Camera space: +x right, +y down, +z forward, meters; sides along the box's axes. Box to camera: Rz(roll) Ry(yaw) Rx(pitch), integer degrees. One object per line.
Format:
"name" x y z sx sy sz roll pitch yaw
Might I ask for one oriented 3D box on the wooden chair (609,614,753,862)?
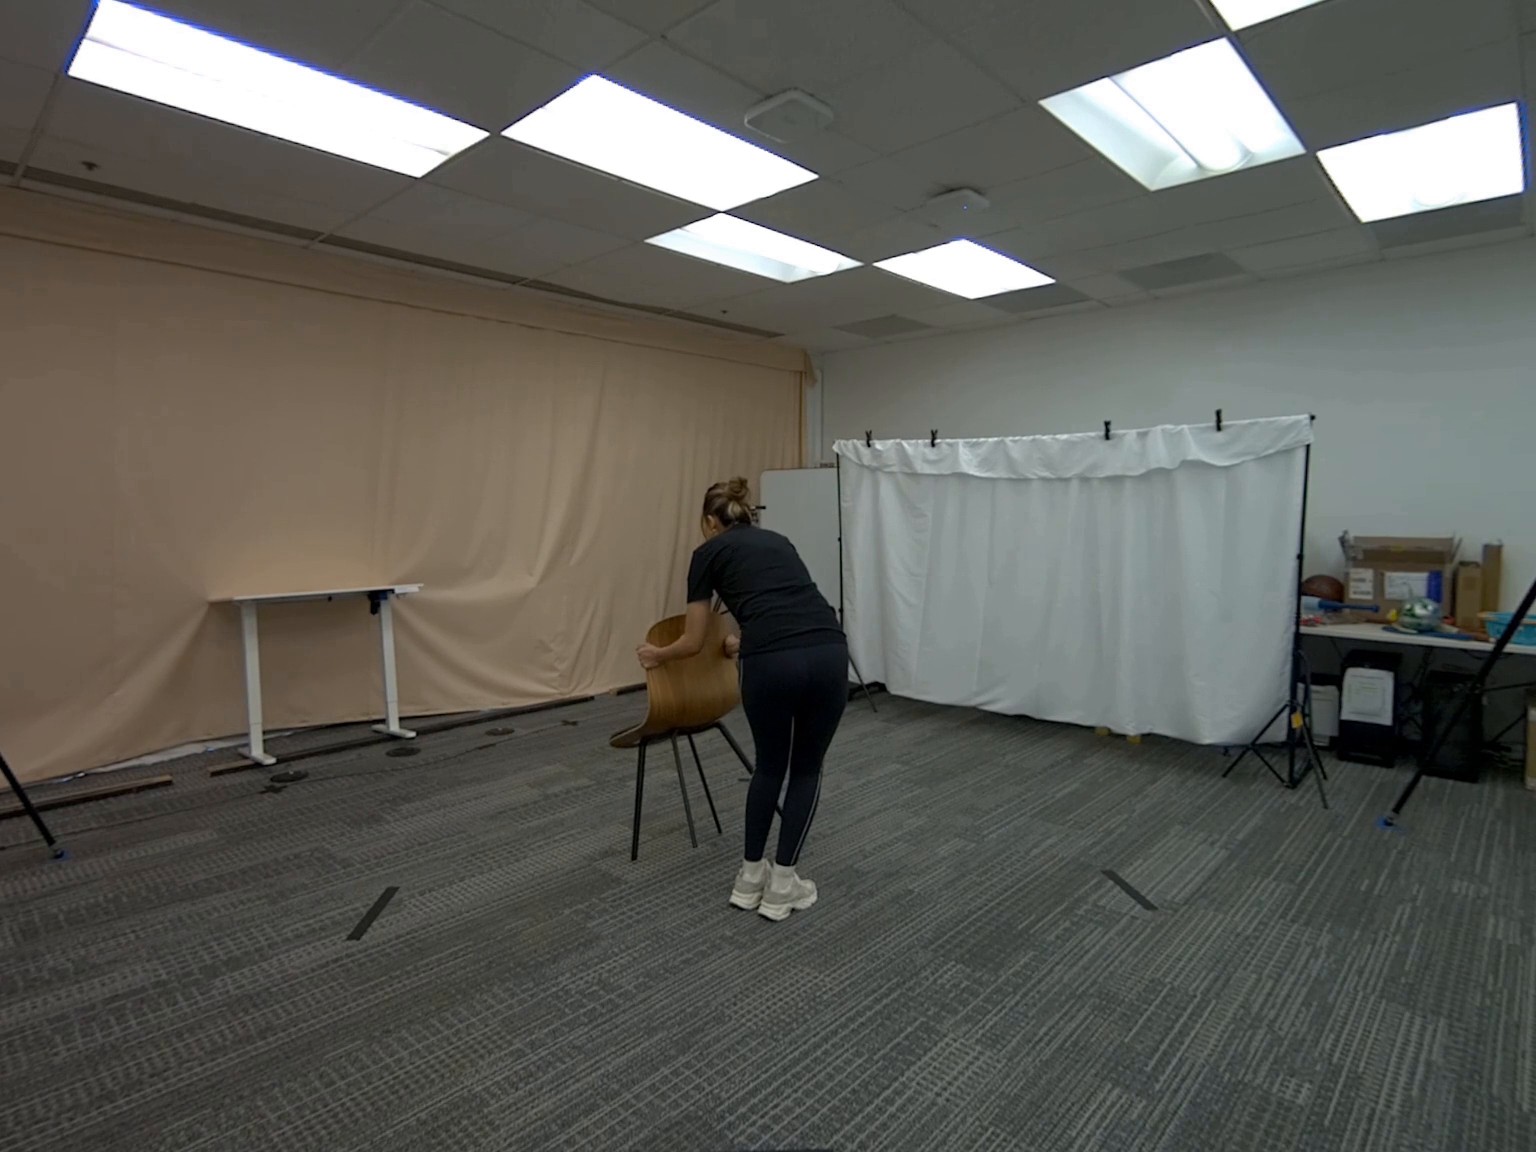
"wooden chair" -0.354 0.622 3.386 0.464 0.887 0.533 -4 -16 -40
